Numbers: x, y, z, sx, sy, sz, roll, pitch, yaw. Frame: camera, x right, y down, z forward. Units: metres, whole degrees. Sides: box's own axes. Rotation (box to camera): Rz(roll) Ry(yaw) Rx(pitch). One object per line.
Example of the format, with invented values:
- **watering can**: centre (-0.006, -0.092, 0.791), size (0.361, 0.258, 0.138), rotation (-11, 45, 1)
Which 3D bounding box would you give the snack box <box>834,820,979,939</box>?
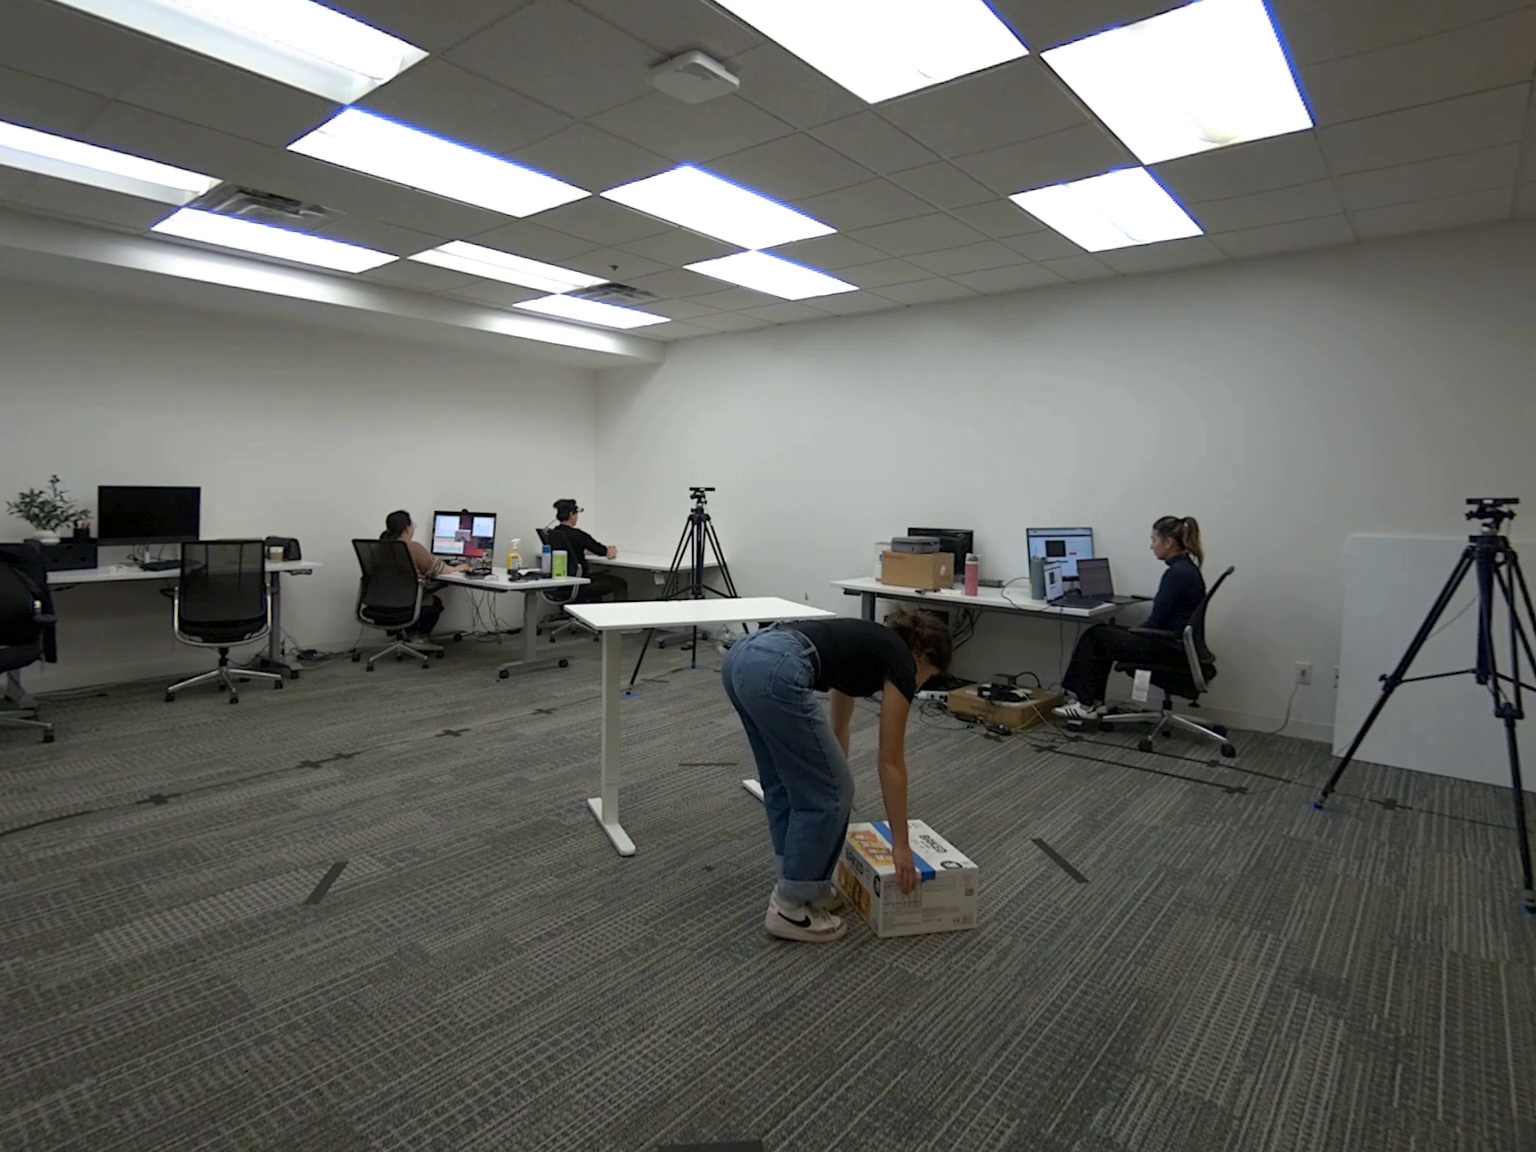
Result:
- **snack box**: centre (0.445, 1.007, 2.869), size (0.335, 0.205, 0.414), rotation (0, 6, -16)
